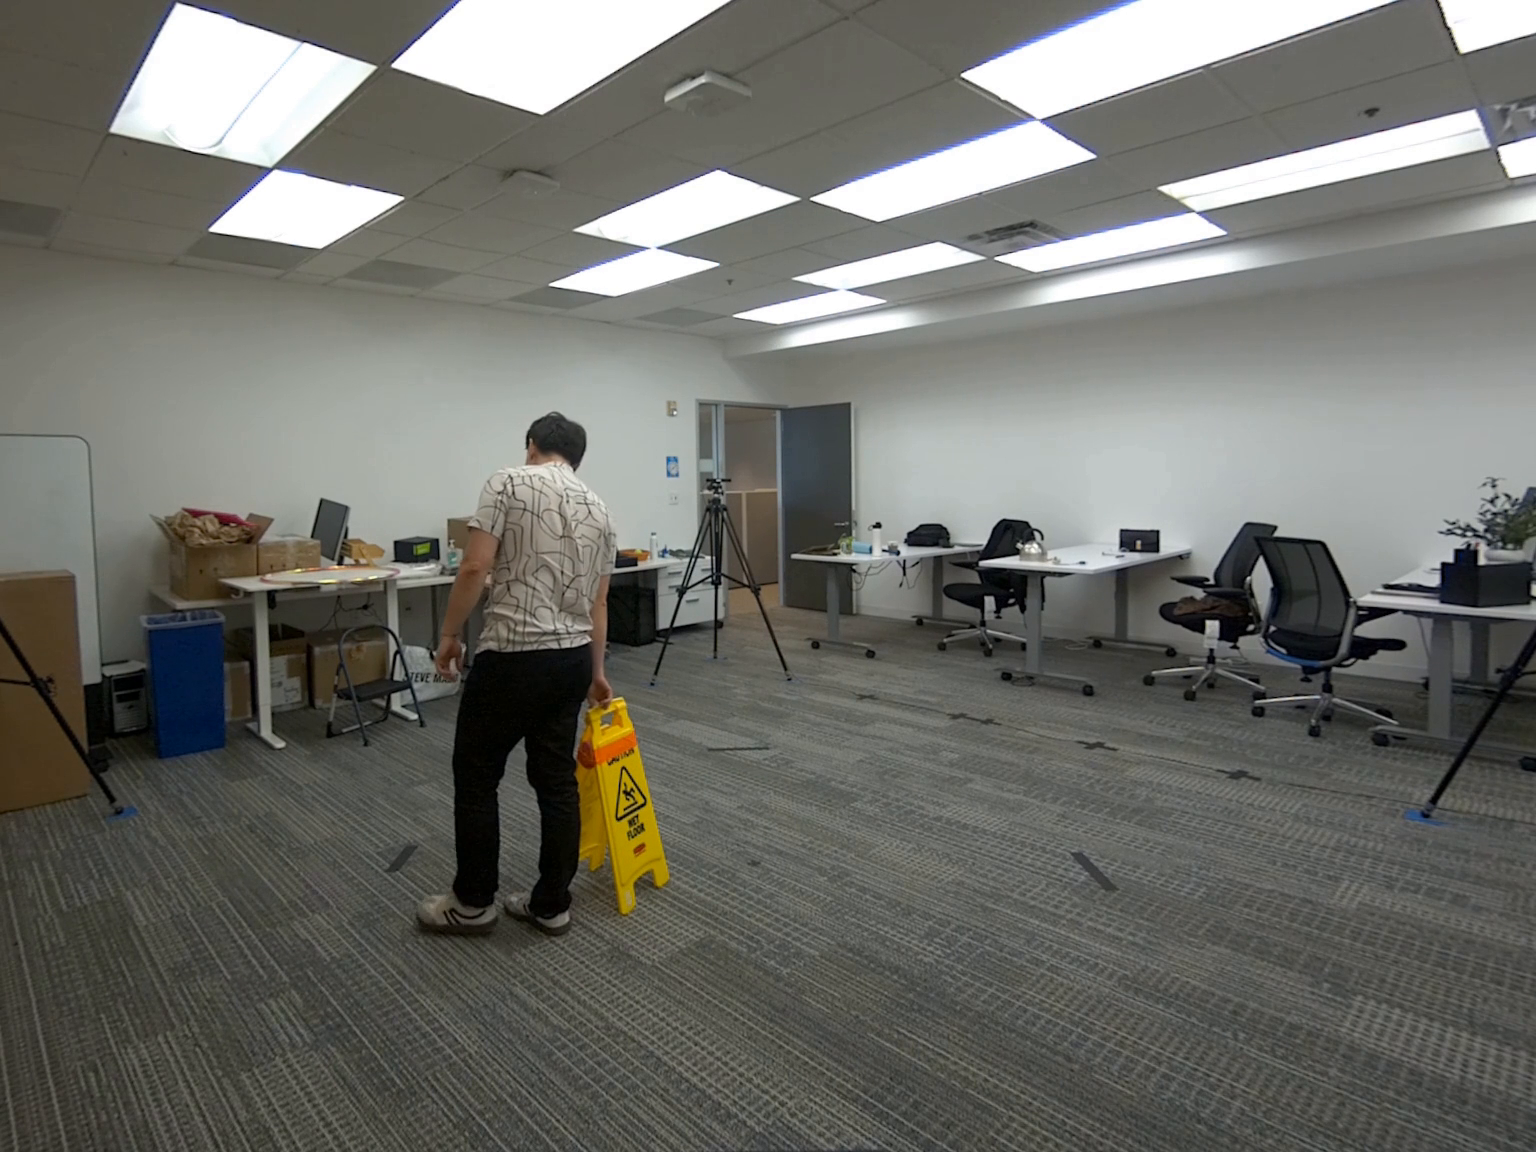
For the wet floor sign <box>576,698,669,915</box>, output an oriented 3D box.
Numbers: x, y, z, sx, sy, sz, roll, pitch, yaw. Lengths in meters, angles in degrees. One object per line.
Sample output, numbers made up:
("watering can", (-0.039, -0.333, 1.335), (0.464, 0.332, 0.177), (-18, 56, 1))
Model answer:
("wet floor sign", (-0.538, 0.752, 2.916), (0.297, 0.643, 0.276), (2, 6, 28))
